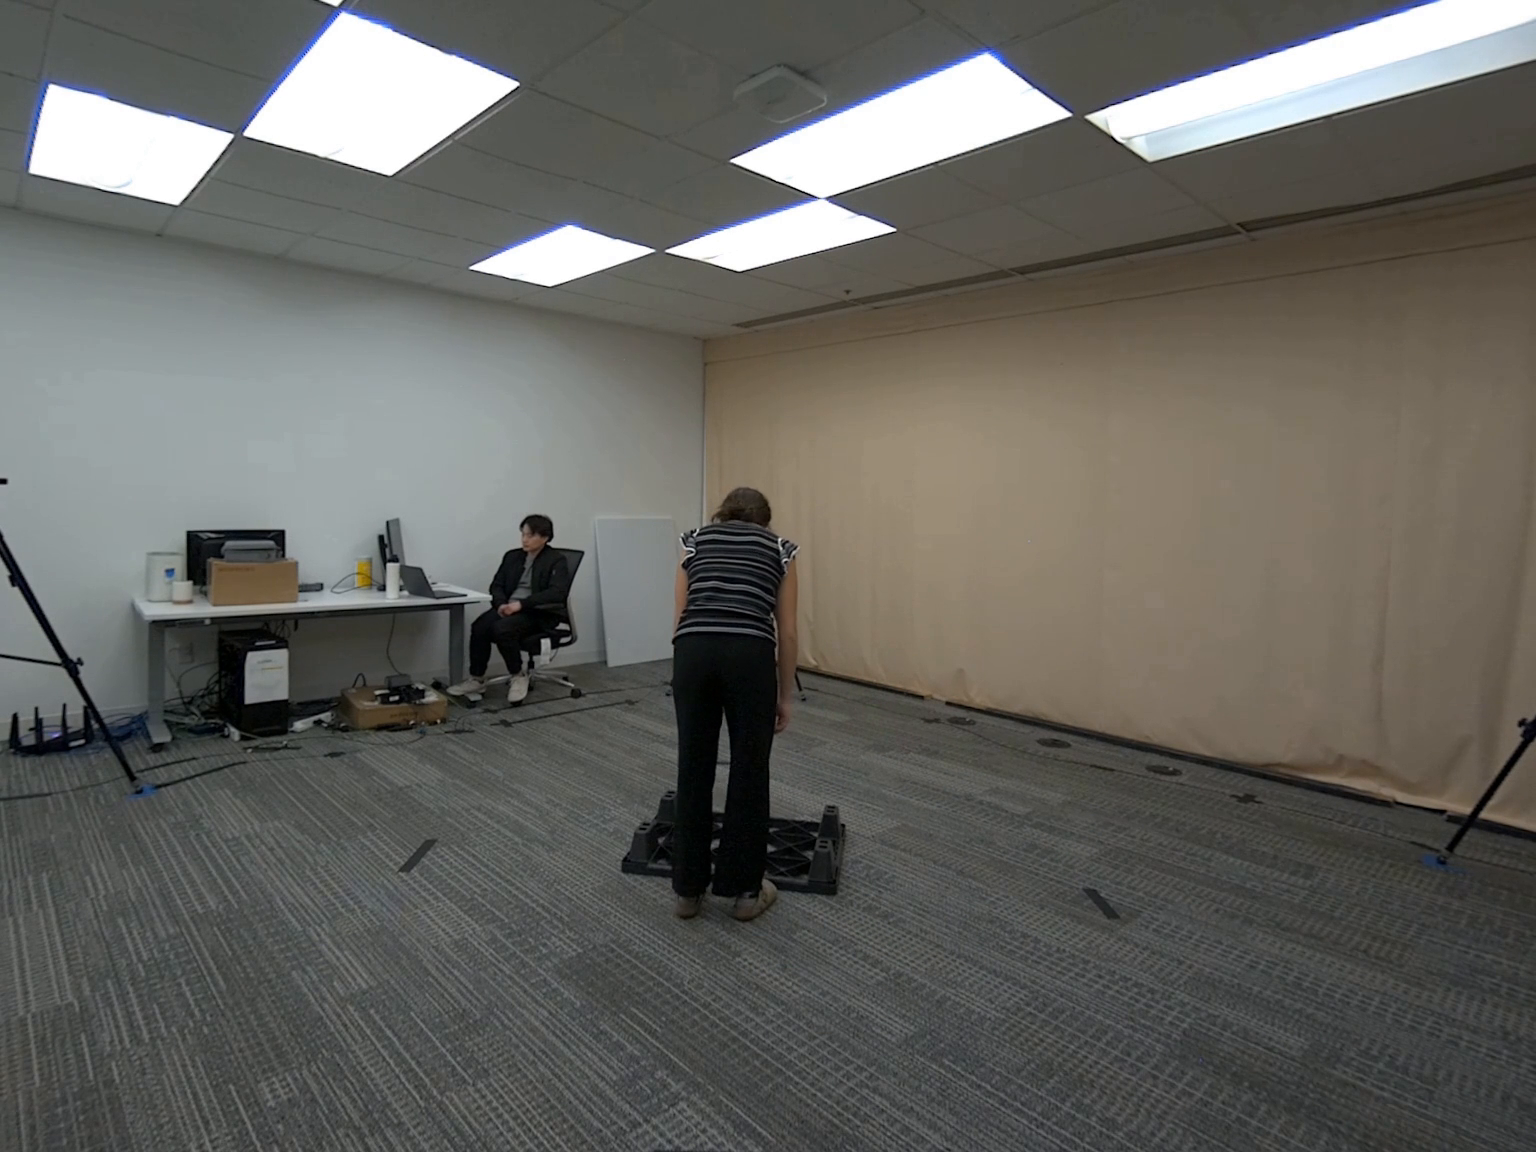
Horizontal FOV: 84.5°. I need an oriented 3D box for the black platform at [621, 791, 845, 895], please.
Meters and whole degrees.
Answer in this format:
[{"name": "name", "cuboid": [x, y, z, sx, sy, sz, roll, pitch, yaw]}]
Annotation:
[{"name": "black platform", "cuboid": [-0.111, 1.020, 3.327, 0.812, 0.143, 0.602, 2, 5, 9]}]
